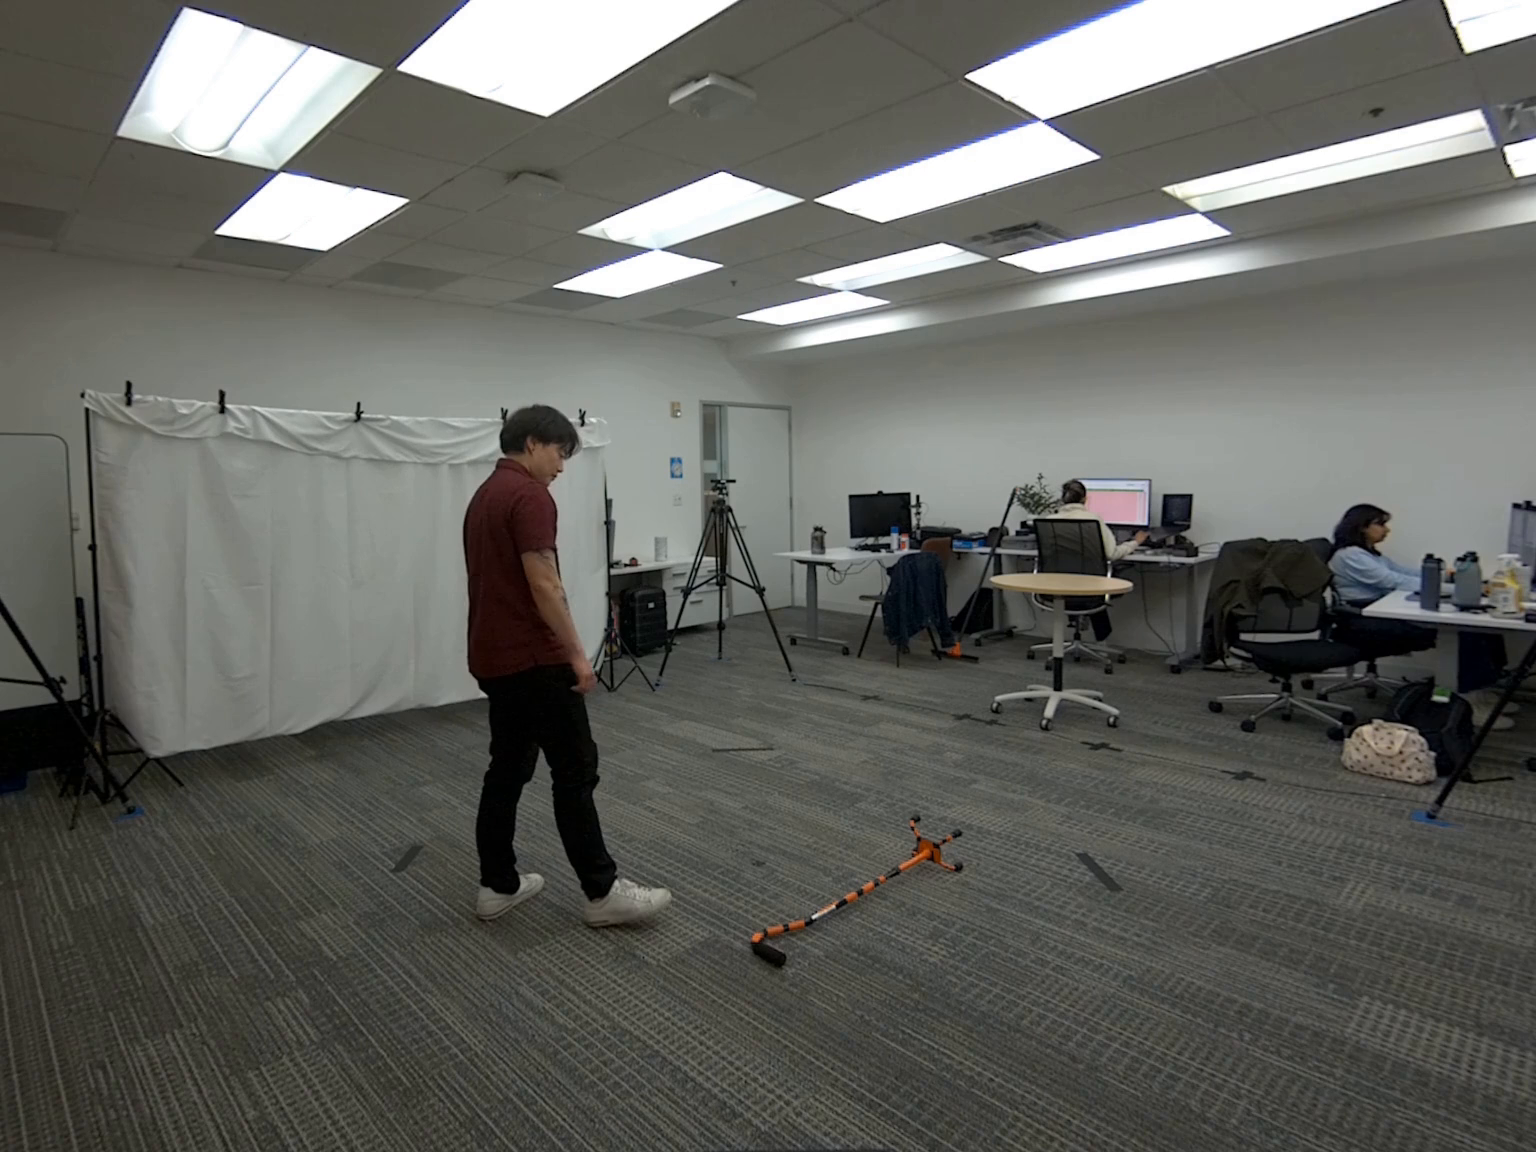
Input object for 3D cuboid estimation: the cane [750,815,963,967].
[{"bbox_3d":[0.300,1.022,2.799,0.886,0.151,0.213,-11,10,-42],"label":"cane"}]
